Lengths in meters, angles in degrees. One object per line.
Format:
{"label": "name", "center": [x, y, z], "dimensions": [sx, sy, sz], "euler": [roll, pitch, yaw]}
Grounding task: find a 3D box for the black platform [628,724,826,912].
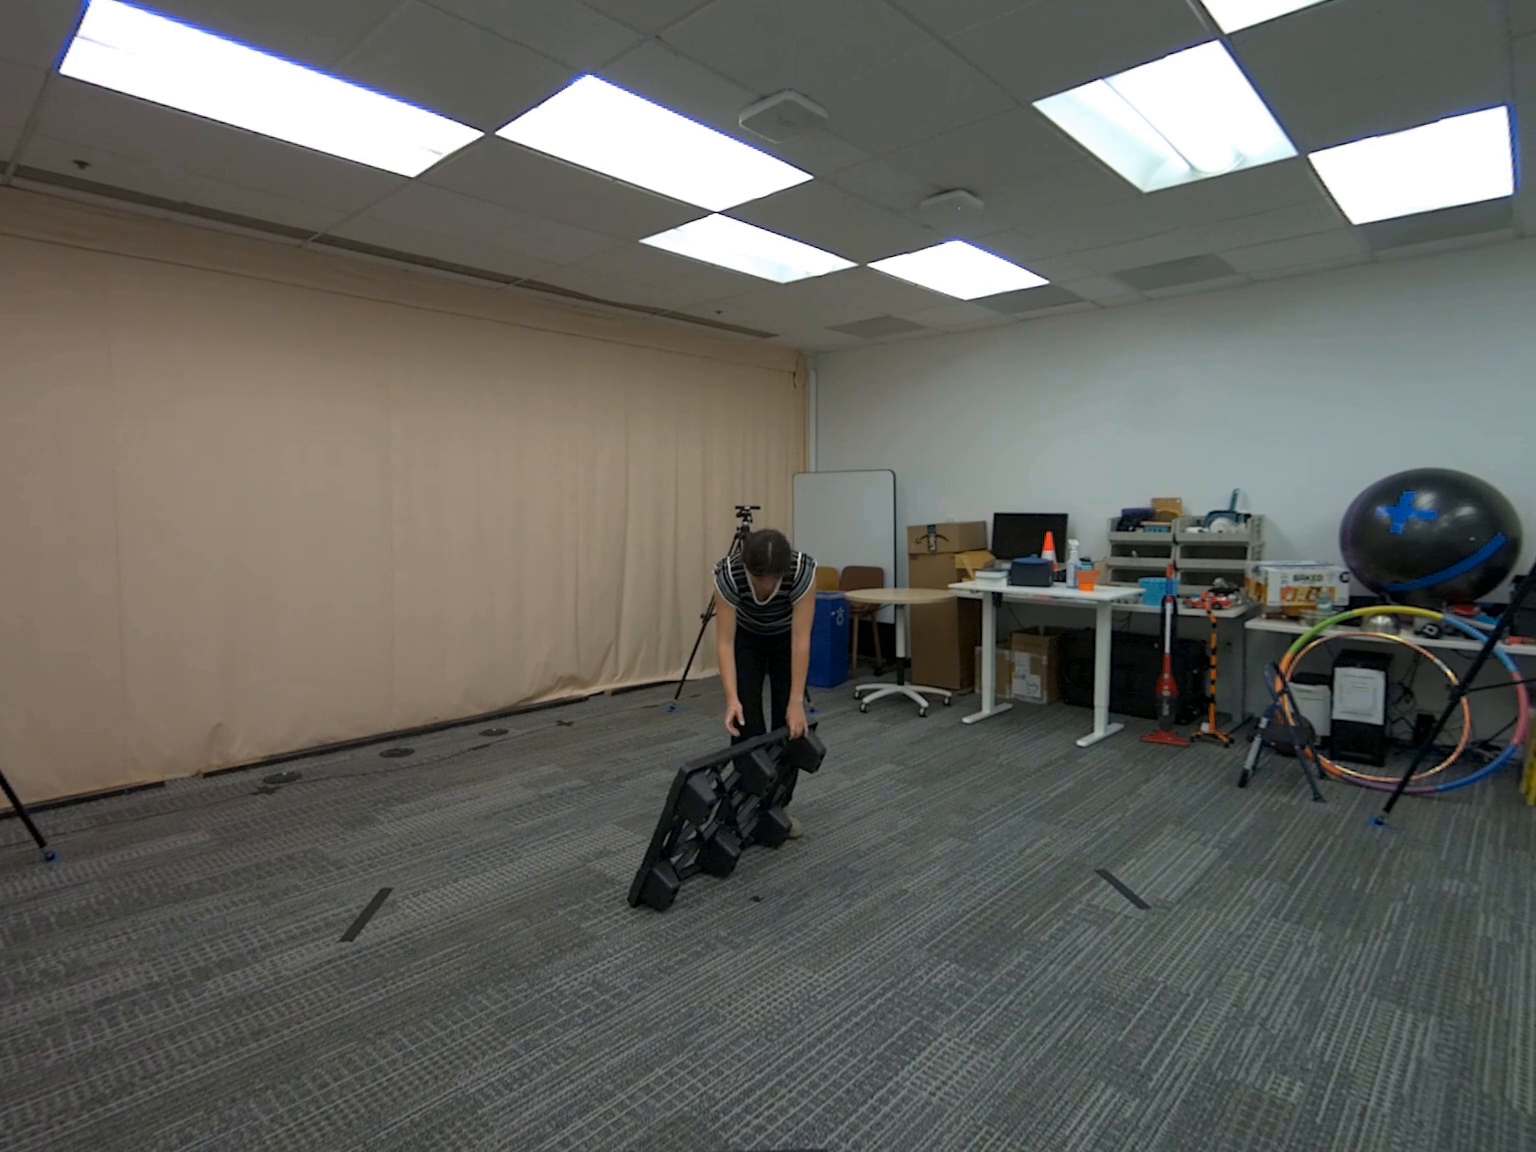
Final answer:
{"label": "black platform", "center": [-0.113, 0.875, 3.110], "dimensions": [0.148, 0.603, 0.782], "euler": [33, 22, 30]}
